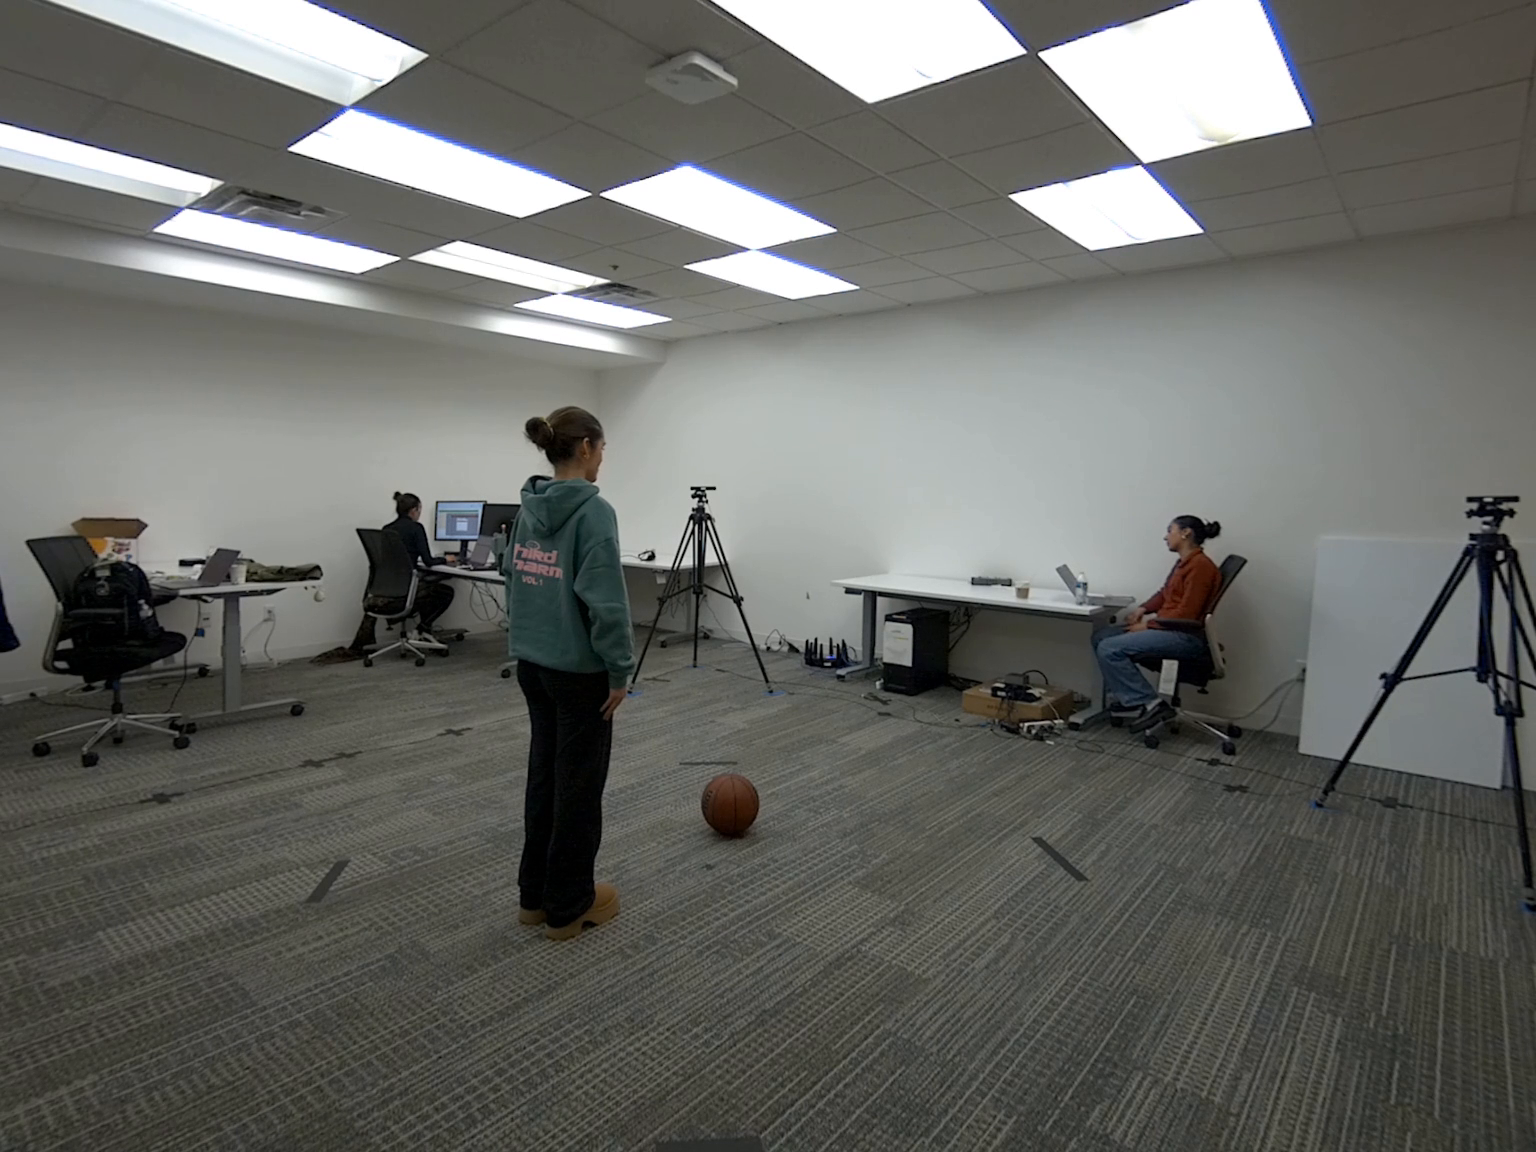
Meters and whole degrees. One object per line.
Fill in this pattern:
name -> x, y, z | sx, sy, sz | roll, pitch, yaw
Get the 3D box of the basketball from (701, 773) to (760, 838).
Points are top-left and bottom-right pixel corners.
basketball -> -0.163, 0.912, 3.436 | 0.235, 0.235, 0.237 | 1, 4, -2
